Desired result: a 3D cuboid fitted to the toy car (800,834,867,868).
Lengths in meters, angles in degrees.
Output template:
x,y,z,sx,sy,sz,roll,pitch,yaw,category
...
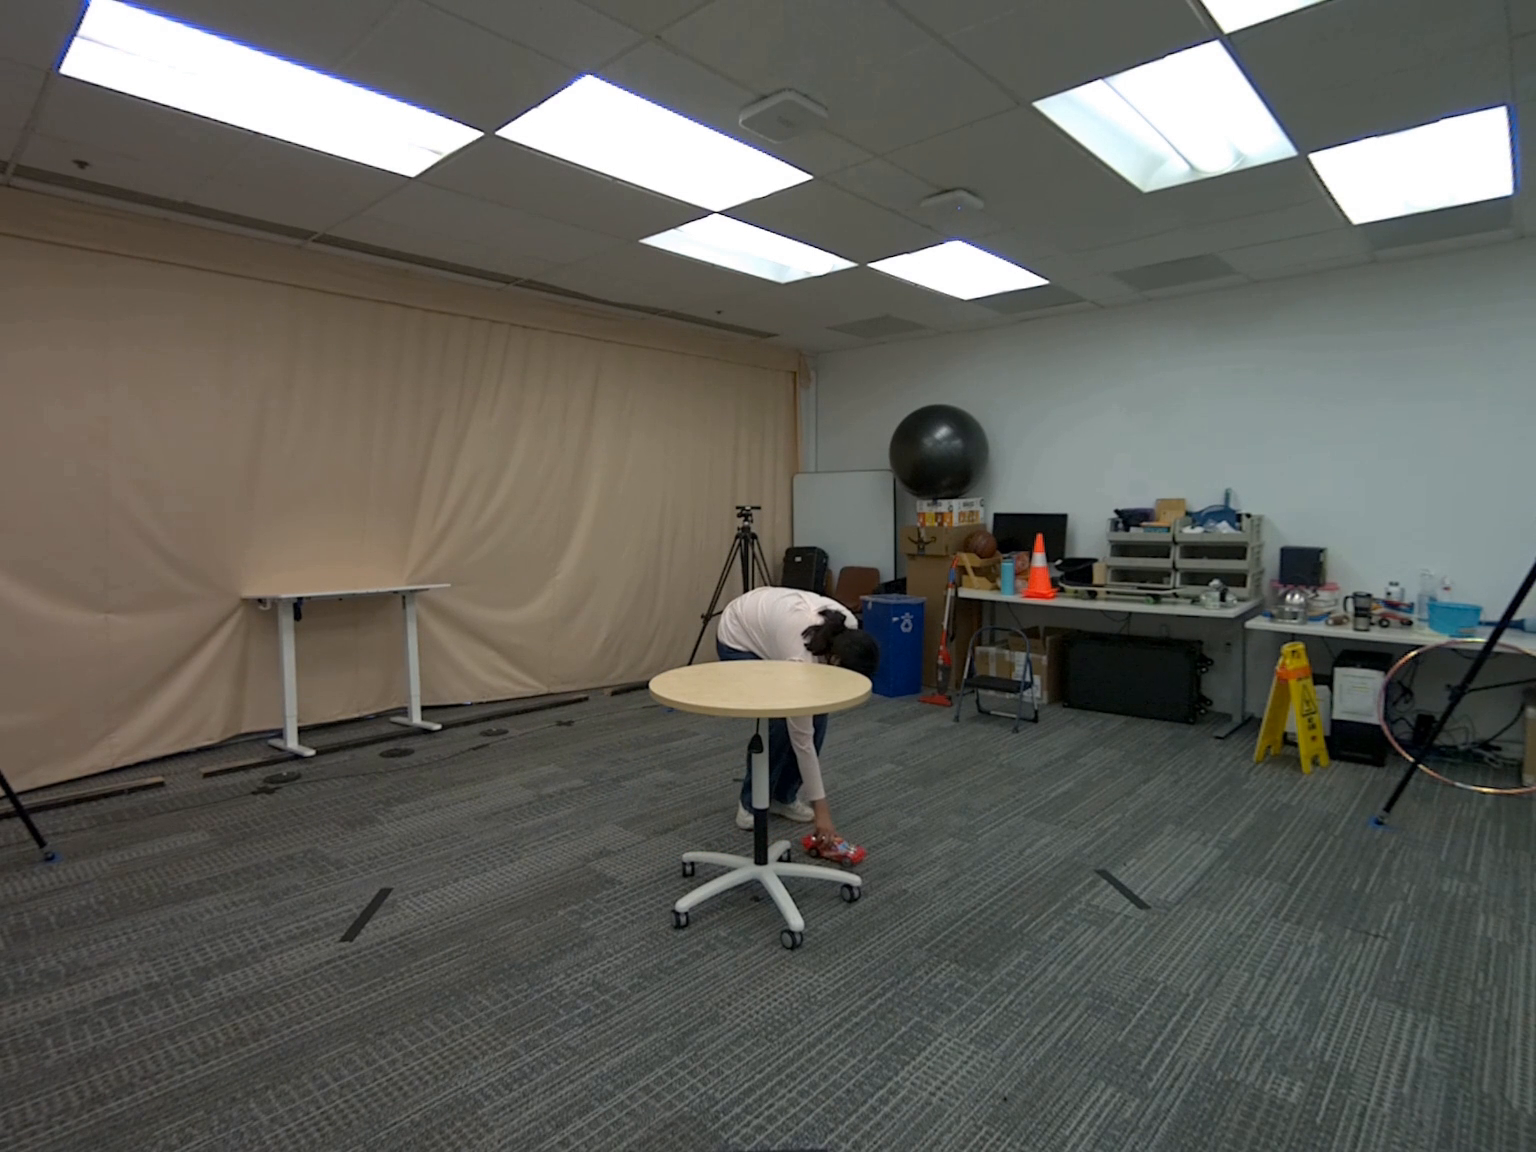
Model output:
x,y,z,sx,sy,sz,roll,pitch,yaw,category
0.255,1.079,3.339,0.263,0.083,0.126,15,13,35,toy car
